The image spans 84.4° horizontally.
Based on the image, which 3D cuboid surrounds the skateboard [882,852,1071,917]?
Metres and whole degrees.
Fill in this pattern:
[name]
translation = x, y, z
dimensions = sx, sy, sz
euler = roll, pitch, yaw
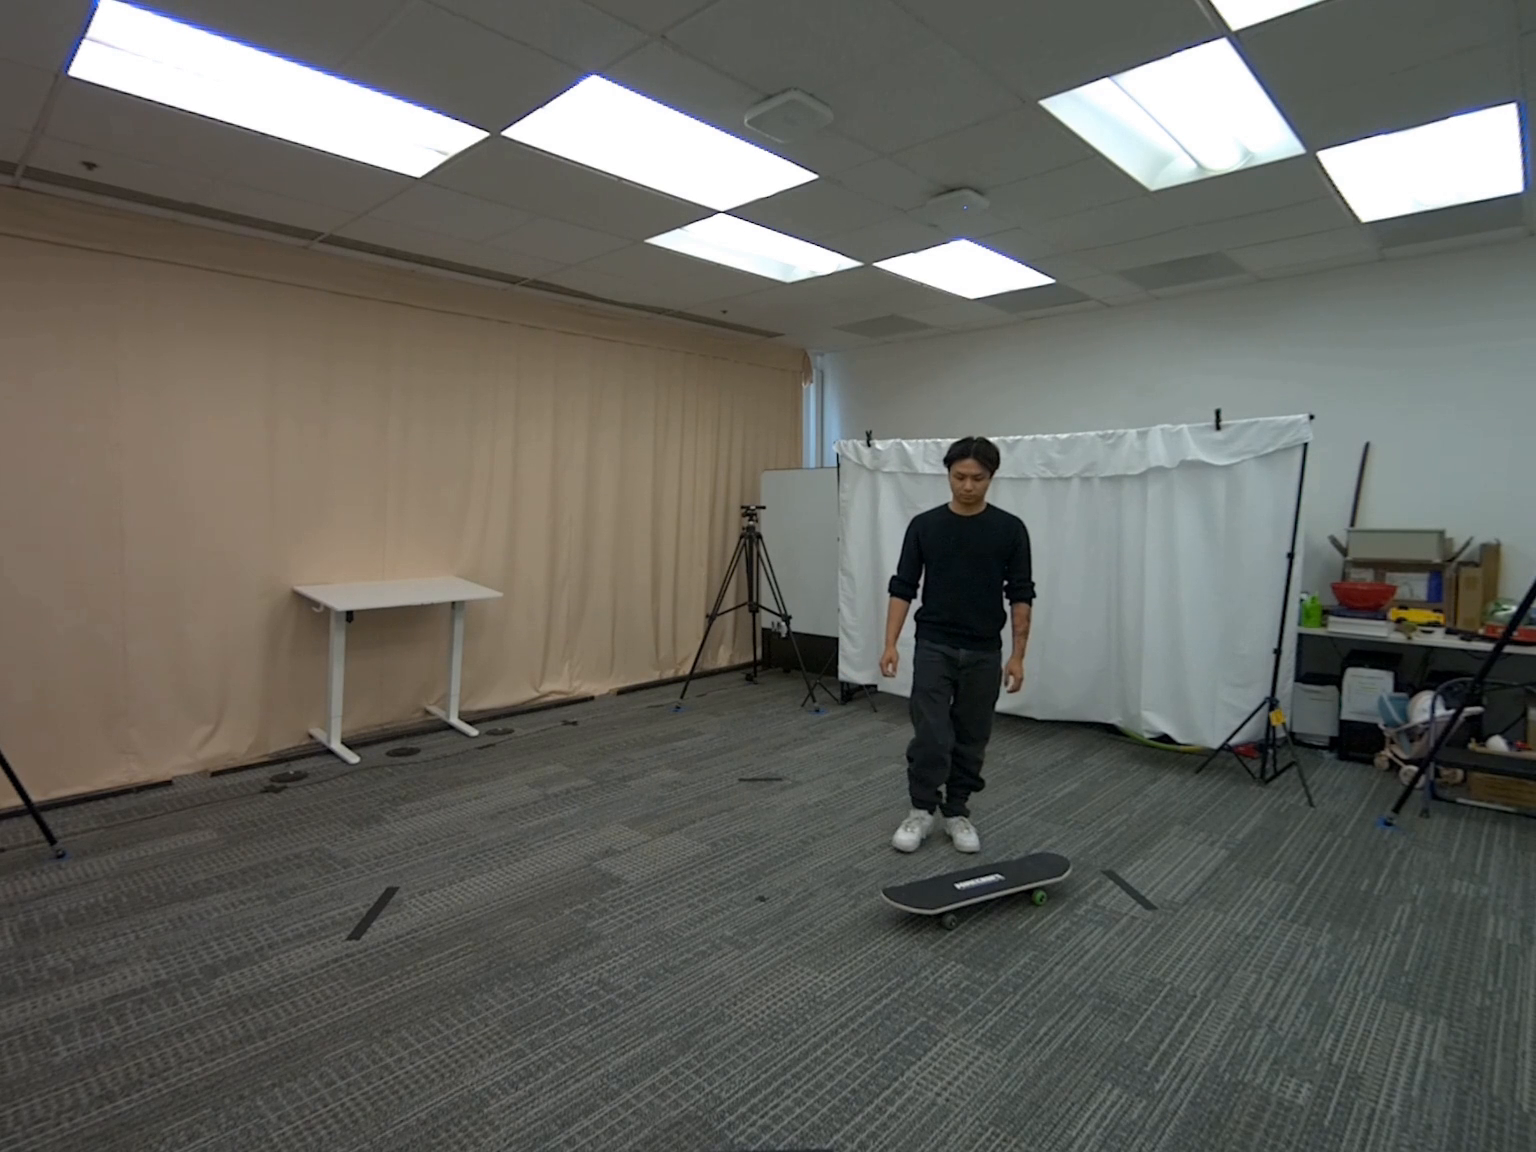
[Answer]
[skateboard]
translation = 0.731, 1.091, 2.911
dimensions = 0.767, 0.110, 0.198
euler = -1, 4, -25
